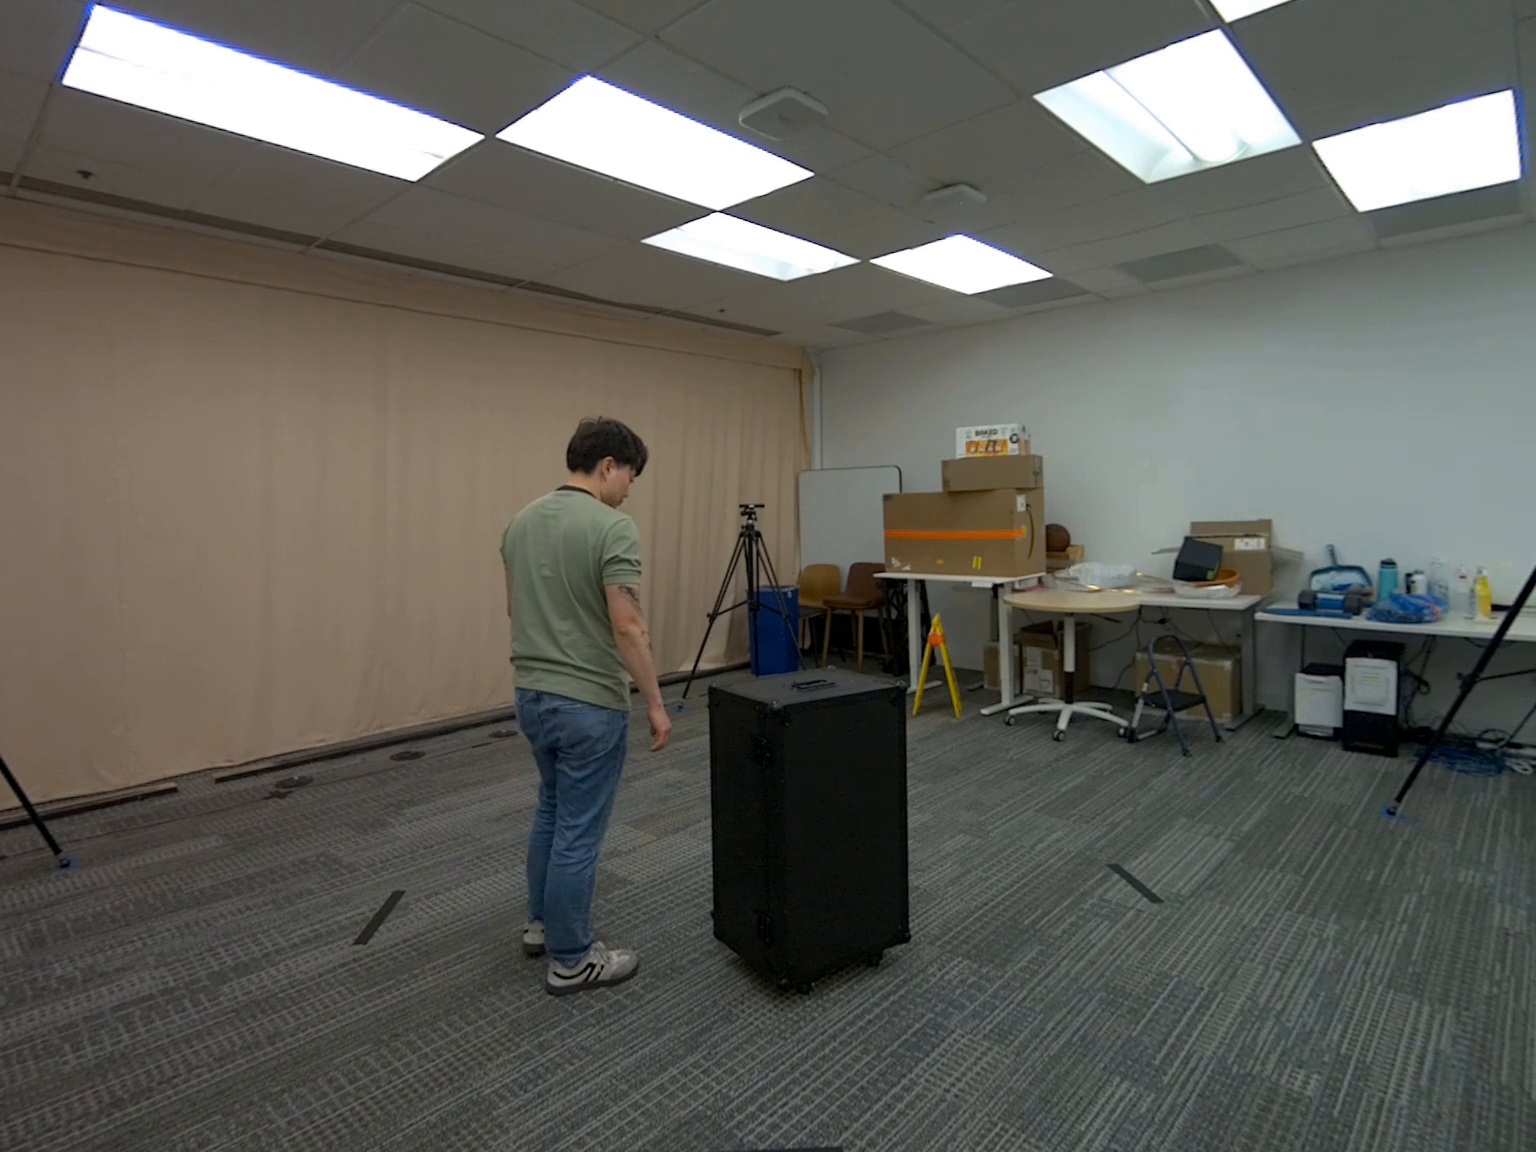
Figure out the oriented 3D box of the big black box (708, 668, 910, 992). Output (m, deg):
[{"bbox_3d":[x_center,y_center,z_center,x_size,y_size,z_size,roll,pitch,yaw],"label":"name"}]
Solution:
[{"bbox_3d":[0.119,0.750,2.550,0.507,0.860,0.408,-3,3,-32],"label":"big black box"}]
